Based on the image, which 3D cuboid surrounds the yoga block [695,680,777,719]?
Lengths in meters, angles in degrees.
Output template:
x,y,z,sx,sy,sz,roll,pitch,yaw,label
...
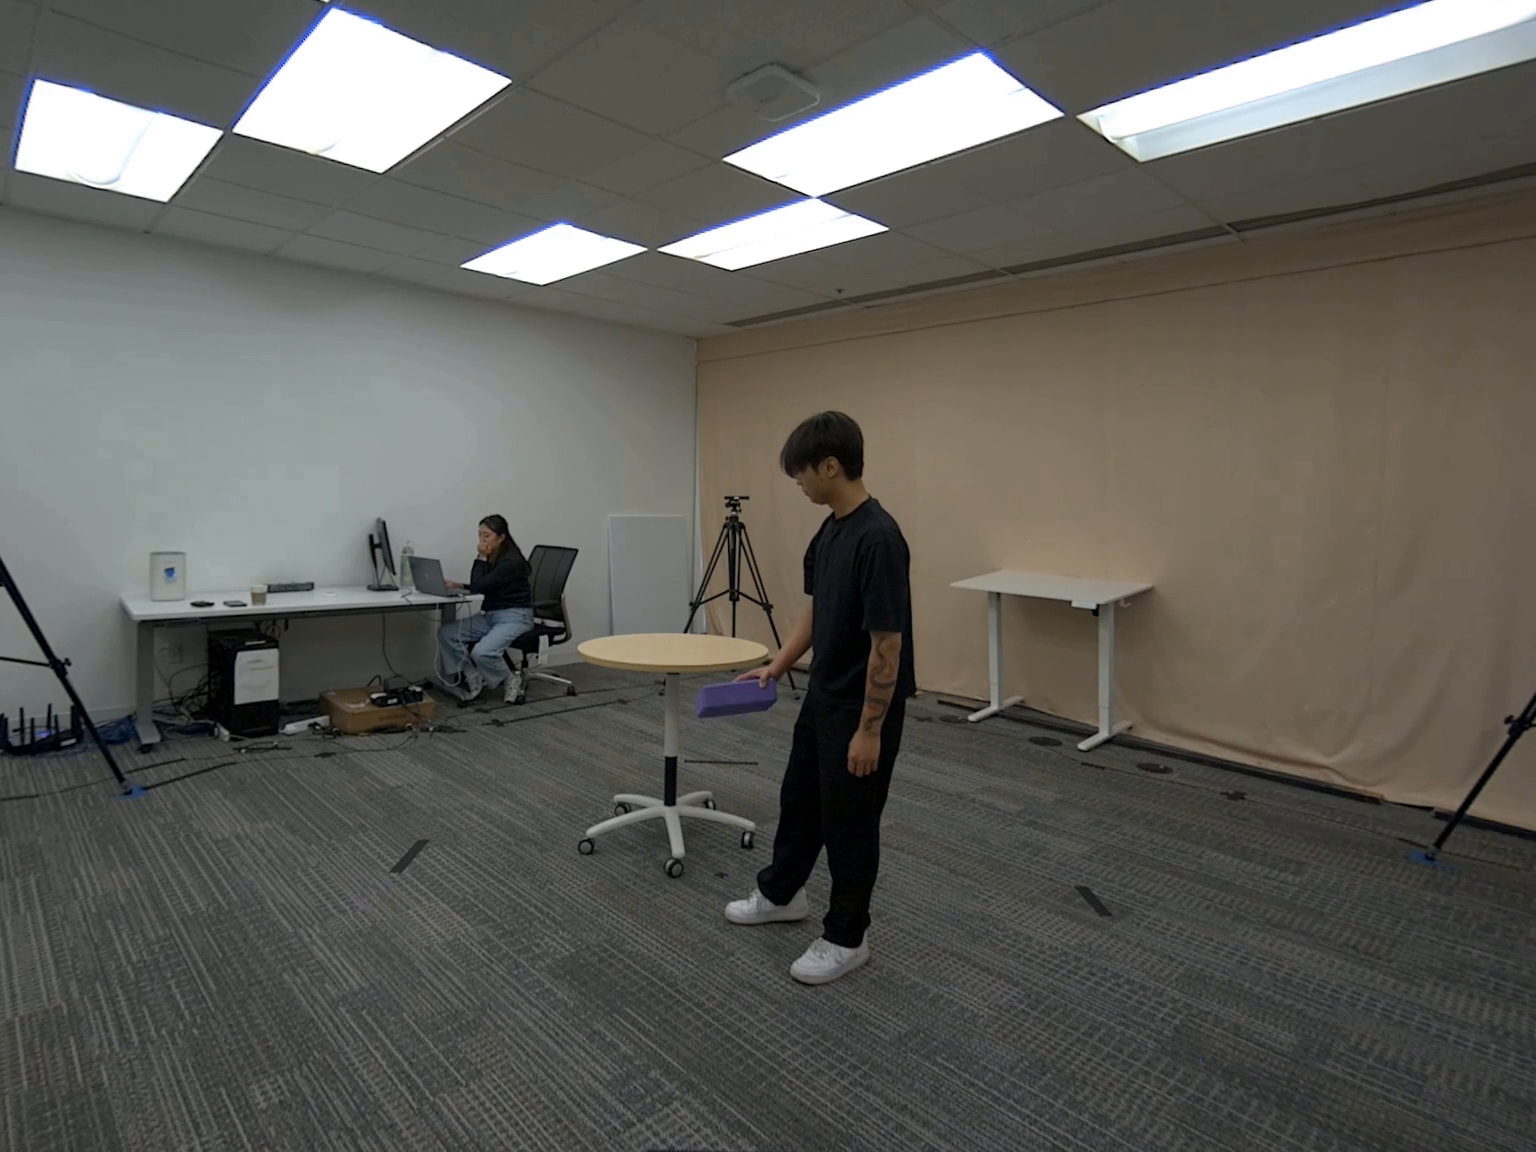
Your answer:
x,y,z,sx,sy,sz,roll,pitch,yaw,label
-0.103,0.378,2.591,0.227,0.077,0.148,-2,-19,-12,yoga block
